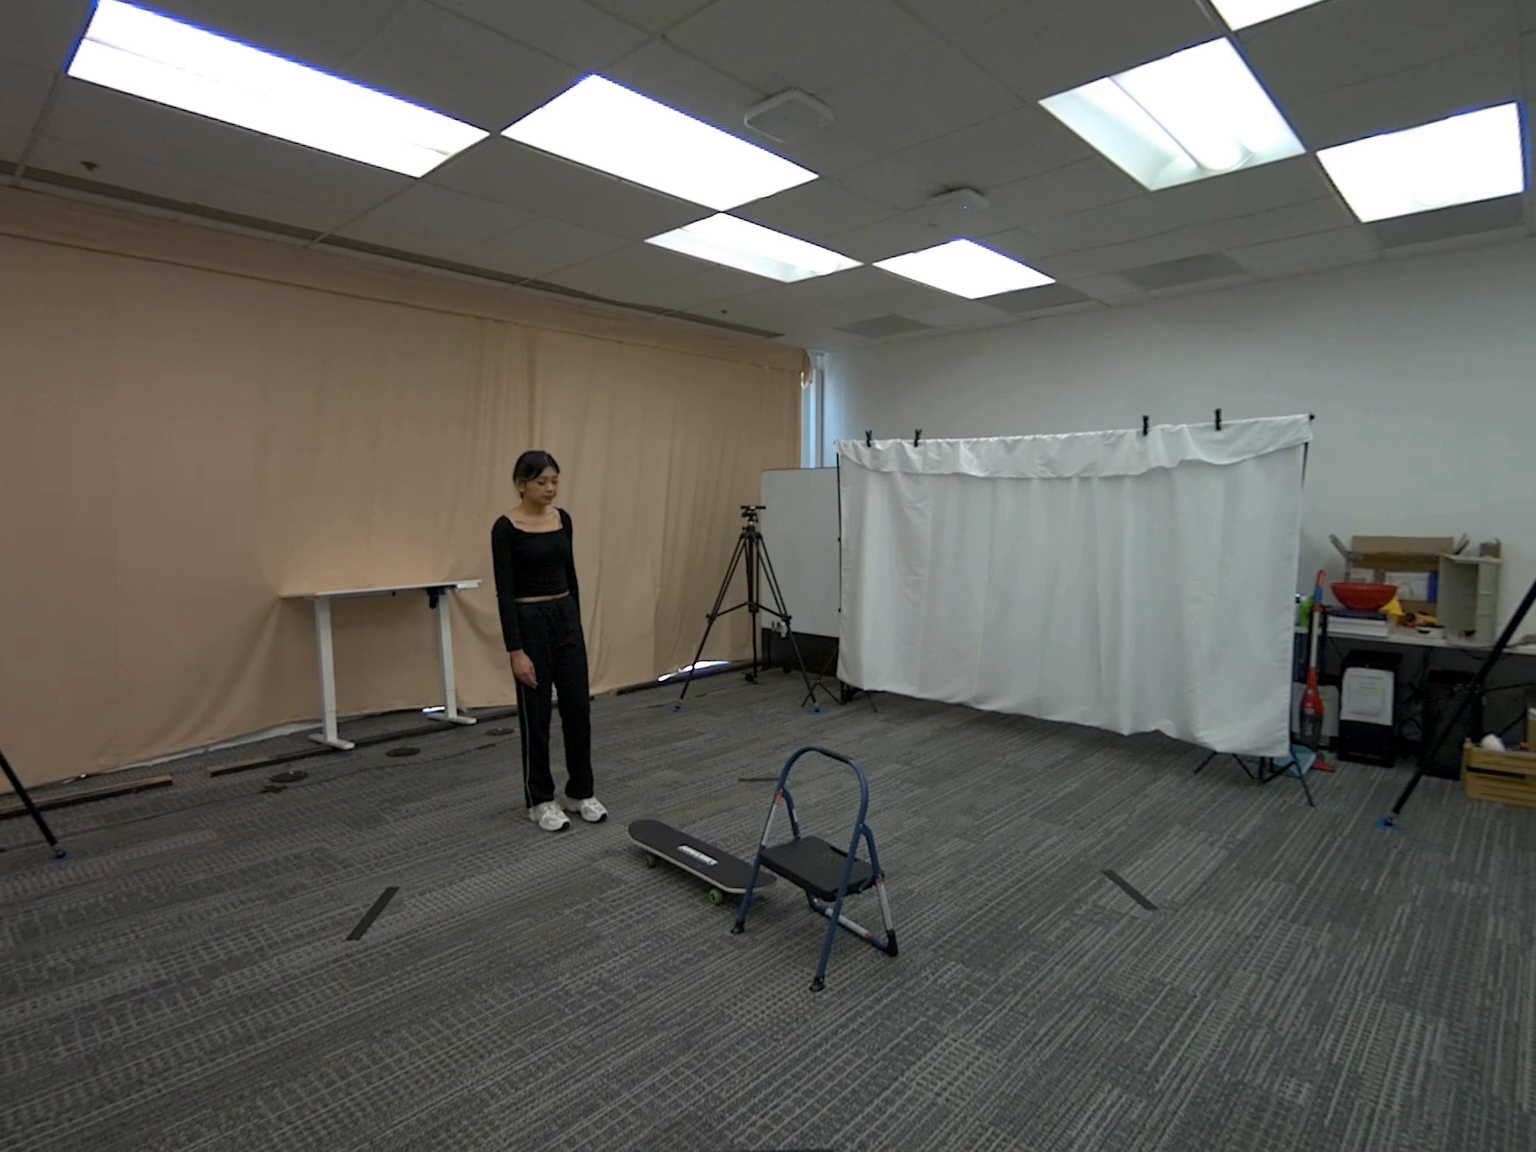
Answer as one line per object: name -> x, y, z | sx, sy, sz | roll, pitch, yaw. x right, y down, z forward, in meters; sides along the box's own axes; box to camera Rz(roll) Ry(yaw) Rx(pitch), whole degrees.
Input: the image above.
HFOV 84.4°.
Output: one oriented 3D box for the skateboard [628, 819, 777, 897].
skateboard -> -0.269, 1.077, 3.147 | 0.187, 0.110, 0.812 | -3, 5, -42
